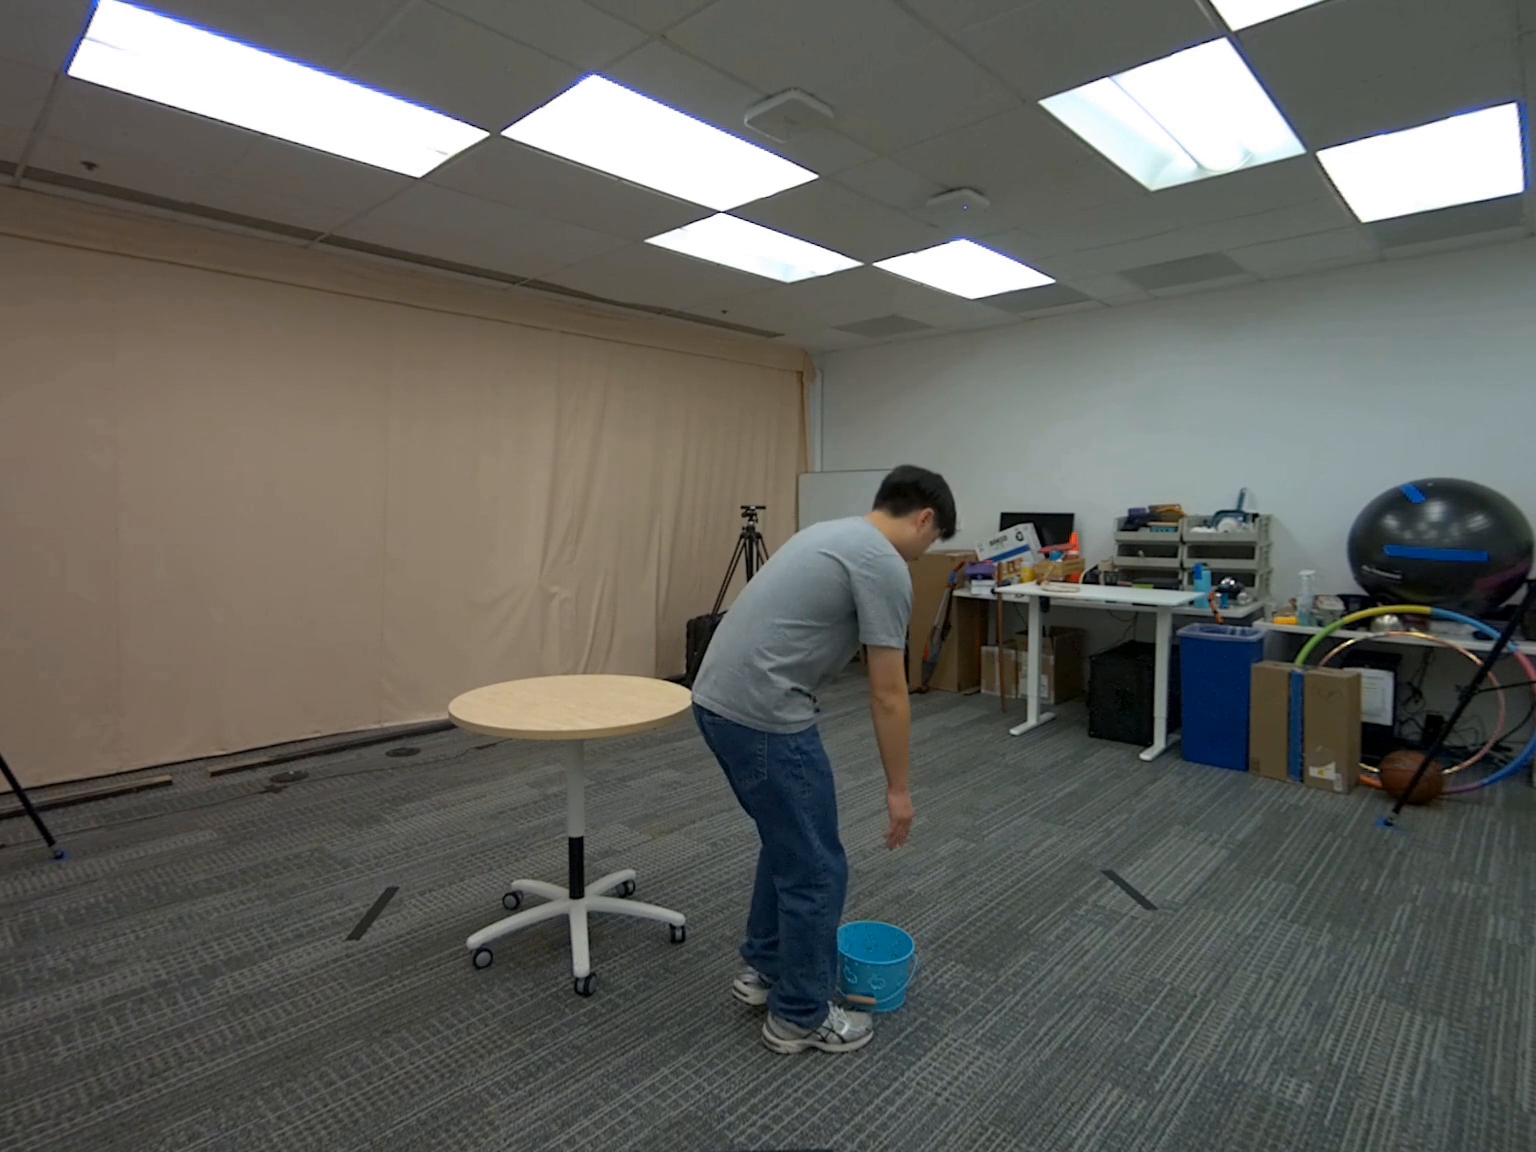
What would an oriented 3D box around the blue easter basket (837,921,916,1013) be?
[{"bbox_3d":[0.299,1.119,2.390,0.243,0.155,0.244,1,4,-2],"label":"blue easter basket"}]
